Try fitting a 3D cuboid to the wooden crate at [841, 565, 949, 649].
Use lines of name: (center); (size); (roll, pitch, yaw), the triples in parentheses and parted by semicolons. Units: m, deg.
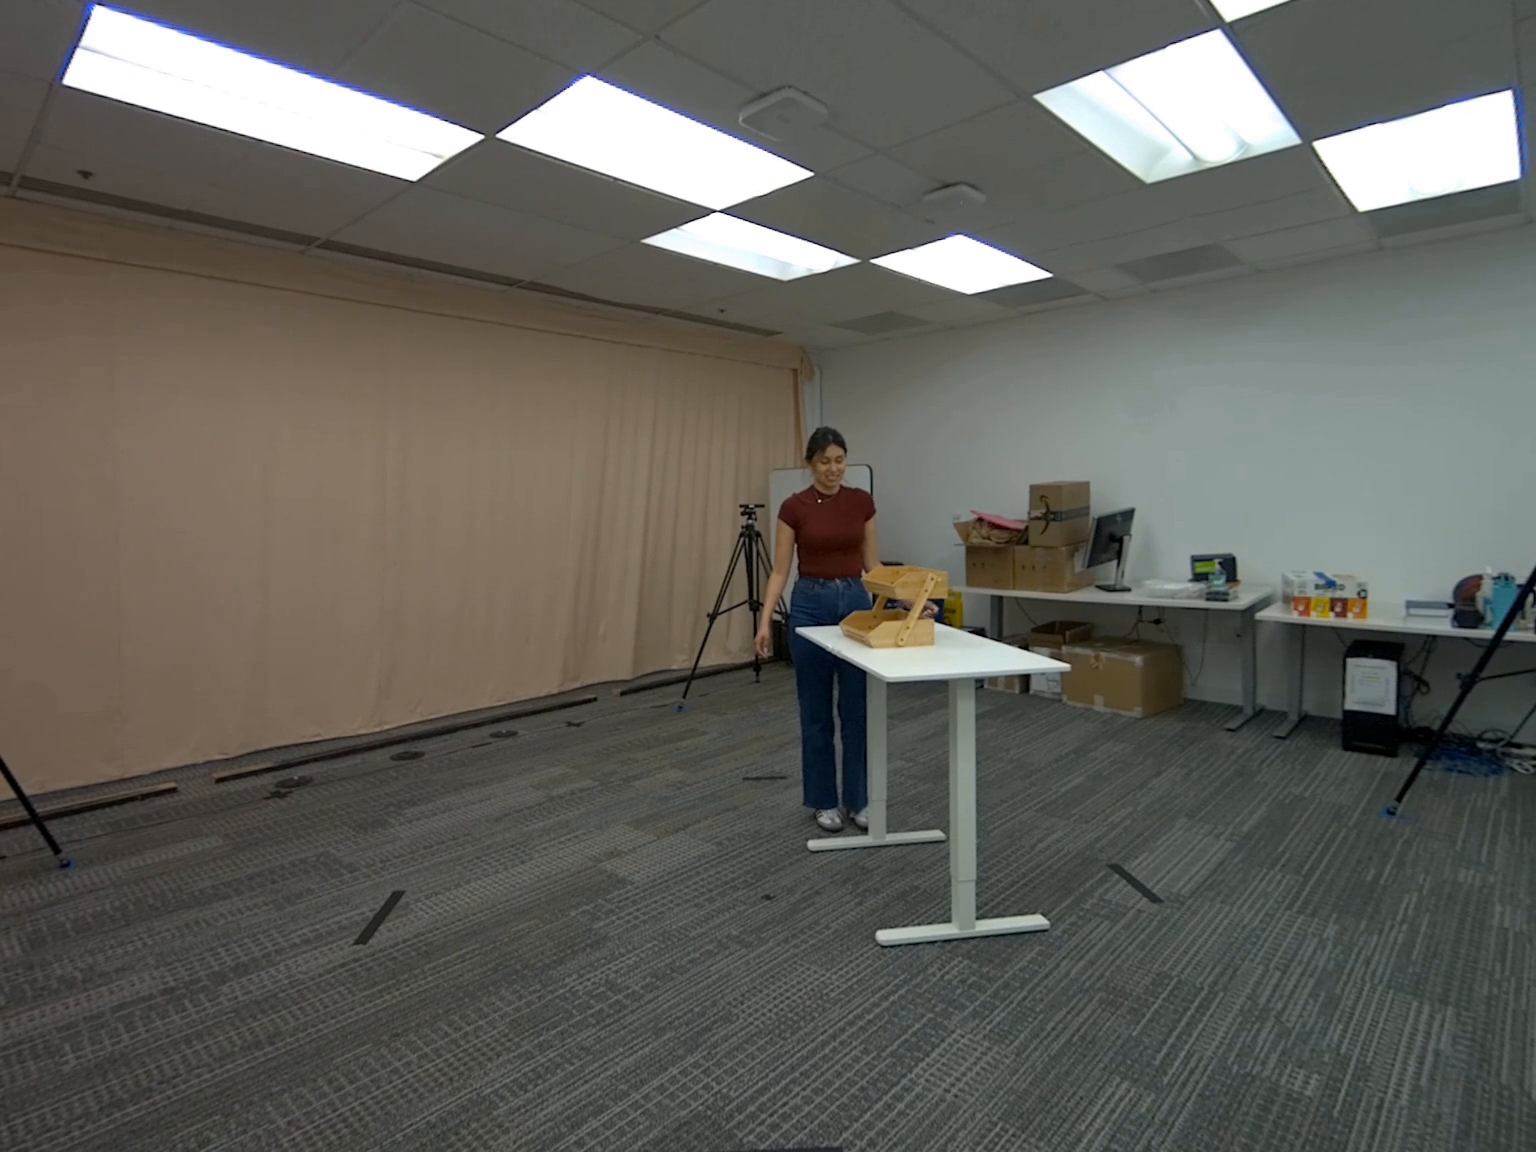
wooden crate: (0.455, 0.104, 3.116); (0.298, 0.272, 0.330); (-1, 5, -14)
